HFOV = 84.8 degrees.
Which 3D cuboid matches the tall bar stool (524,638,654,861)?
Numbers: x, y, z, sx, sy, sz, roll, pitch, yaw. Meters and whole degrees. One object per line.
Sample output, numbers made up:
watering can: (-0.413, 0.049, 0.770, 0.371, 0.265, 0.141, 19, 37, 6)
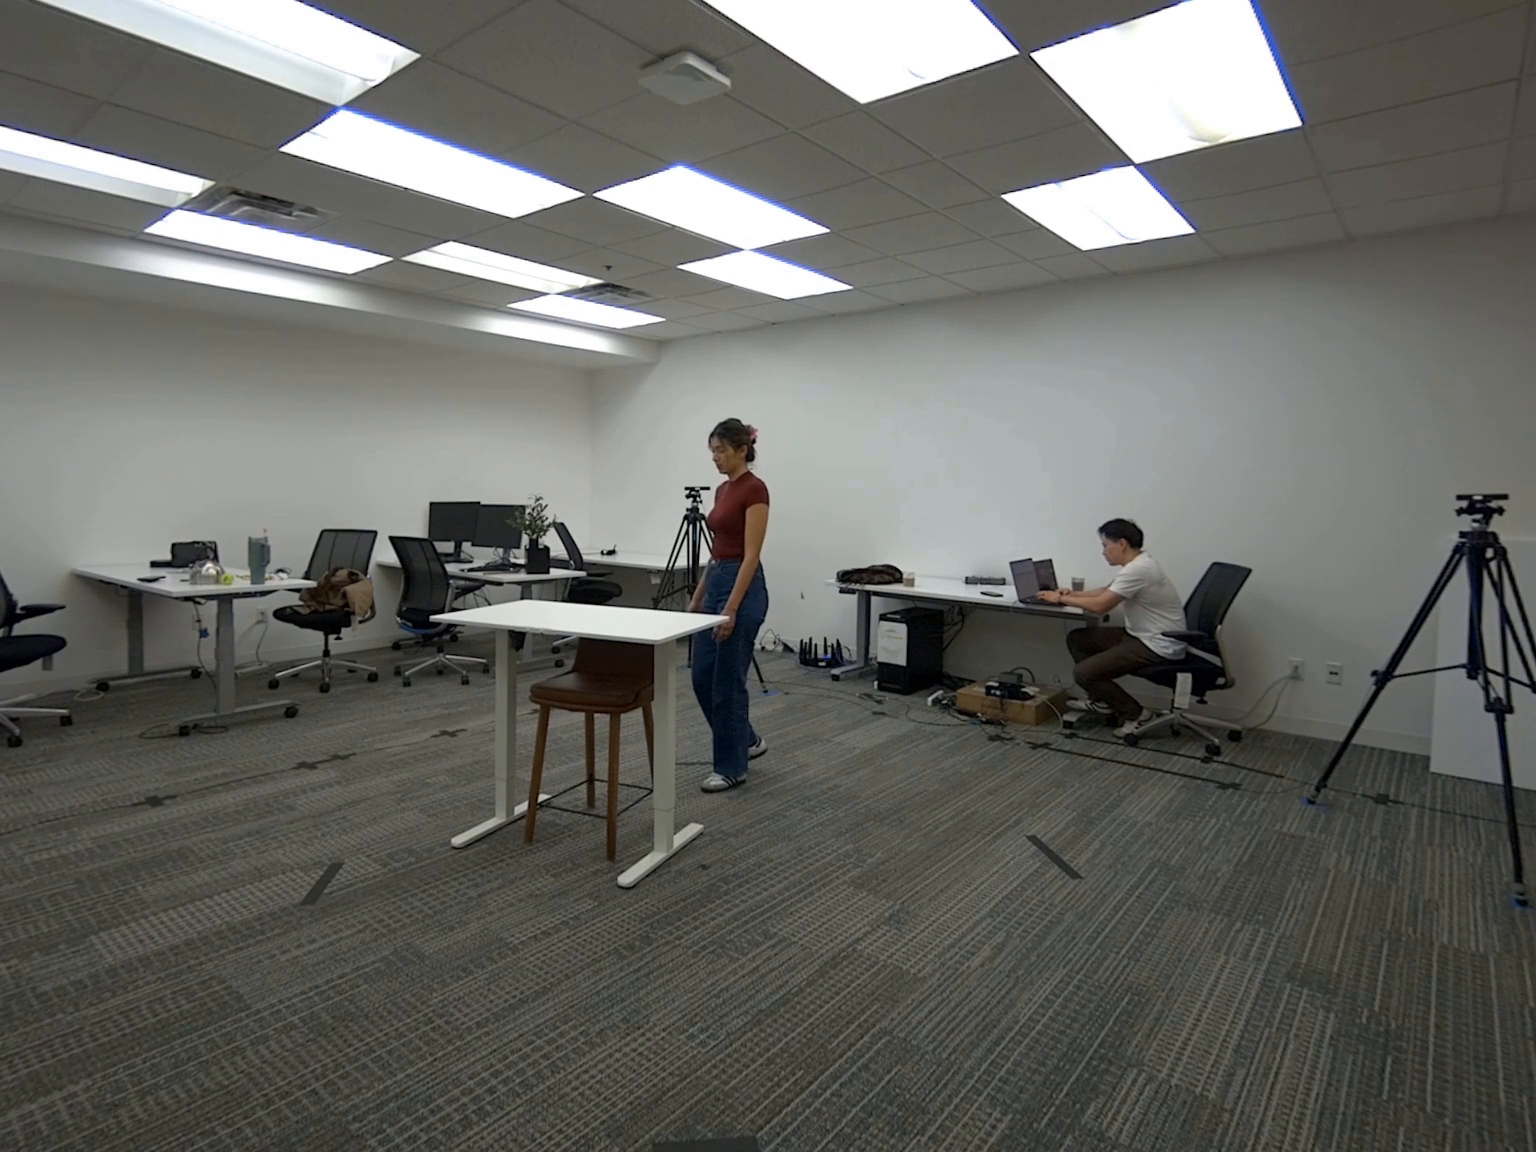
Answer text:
tall bar stool: (-0.686, 0.600, 3.412, 0.468, 0.889, 0.457, 2, 2, 23)
